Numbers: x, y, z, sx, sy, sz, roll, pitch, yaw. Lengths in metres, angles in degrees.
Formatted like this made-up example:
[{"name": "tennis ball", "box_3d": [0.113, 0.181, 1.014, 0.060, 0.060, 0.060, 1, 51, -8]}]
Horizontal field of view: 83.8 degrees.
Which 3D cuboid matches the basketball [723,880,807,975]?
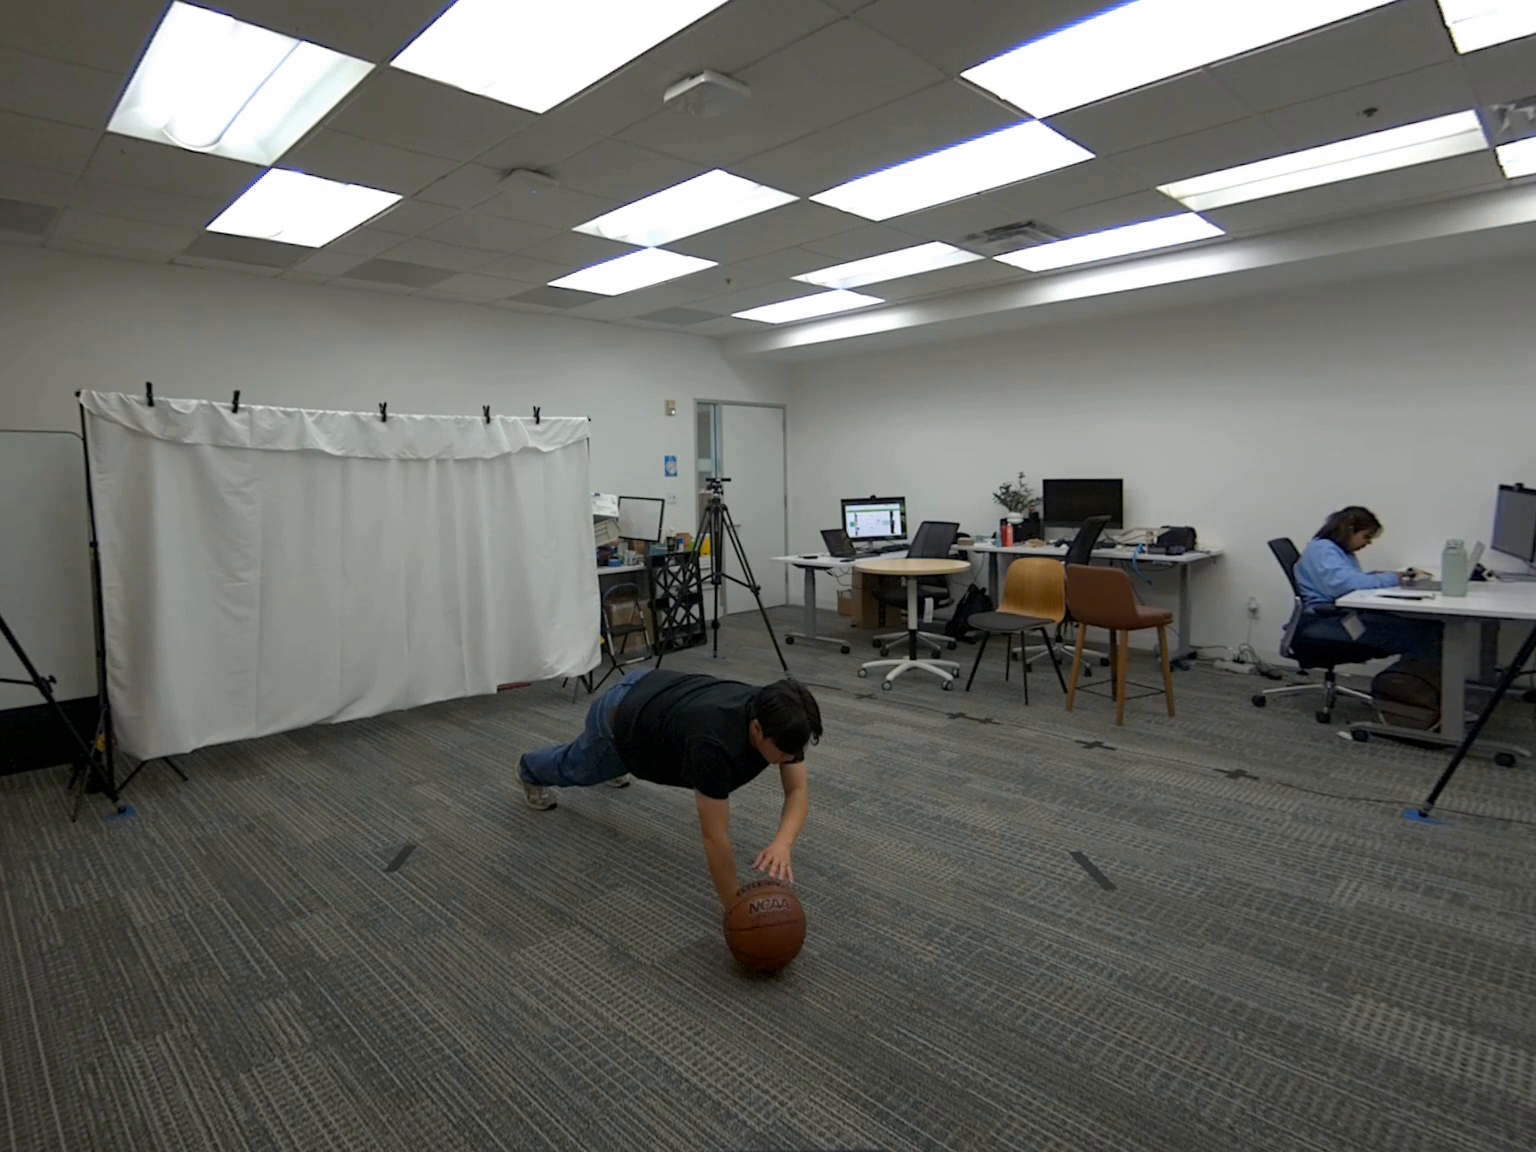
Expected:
[{"name": "basketball", "box_3d": [-0.005, 1.001, 2.442, 0.236, 0.235, 0.237, -1, 5, -2]}]
